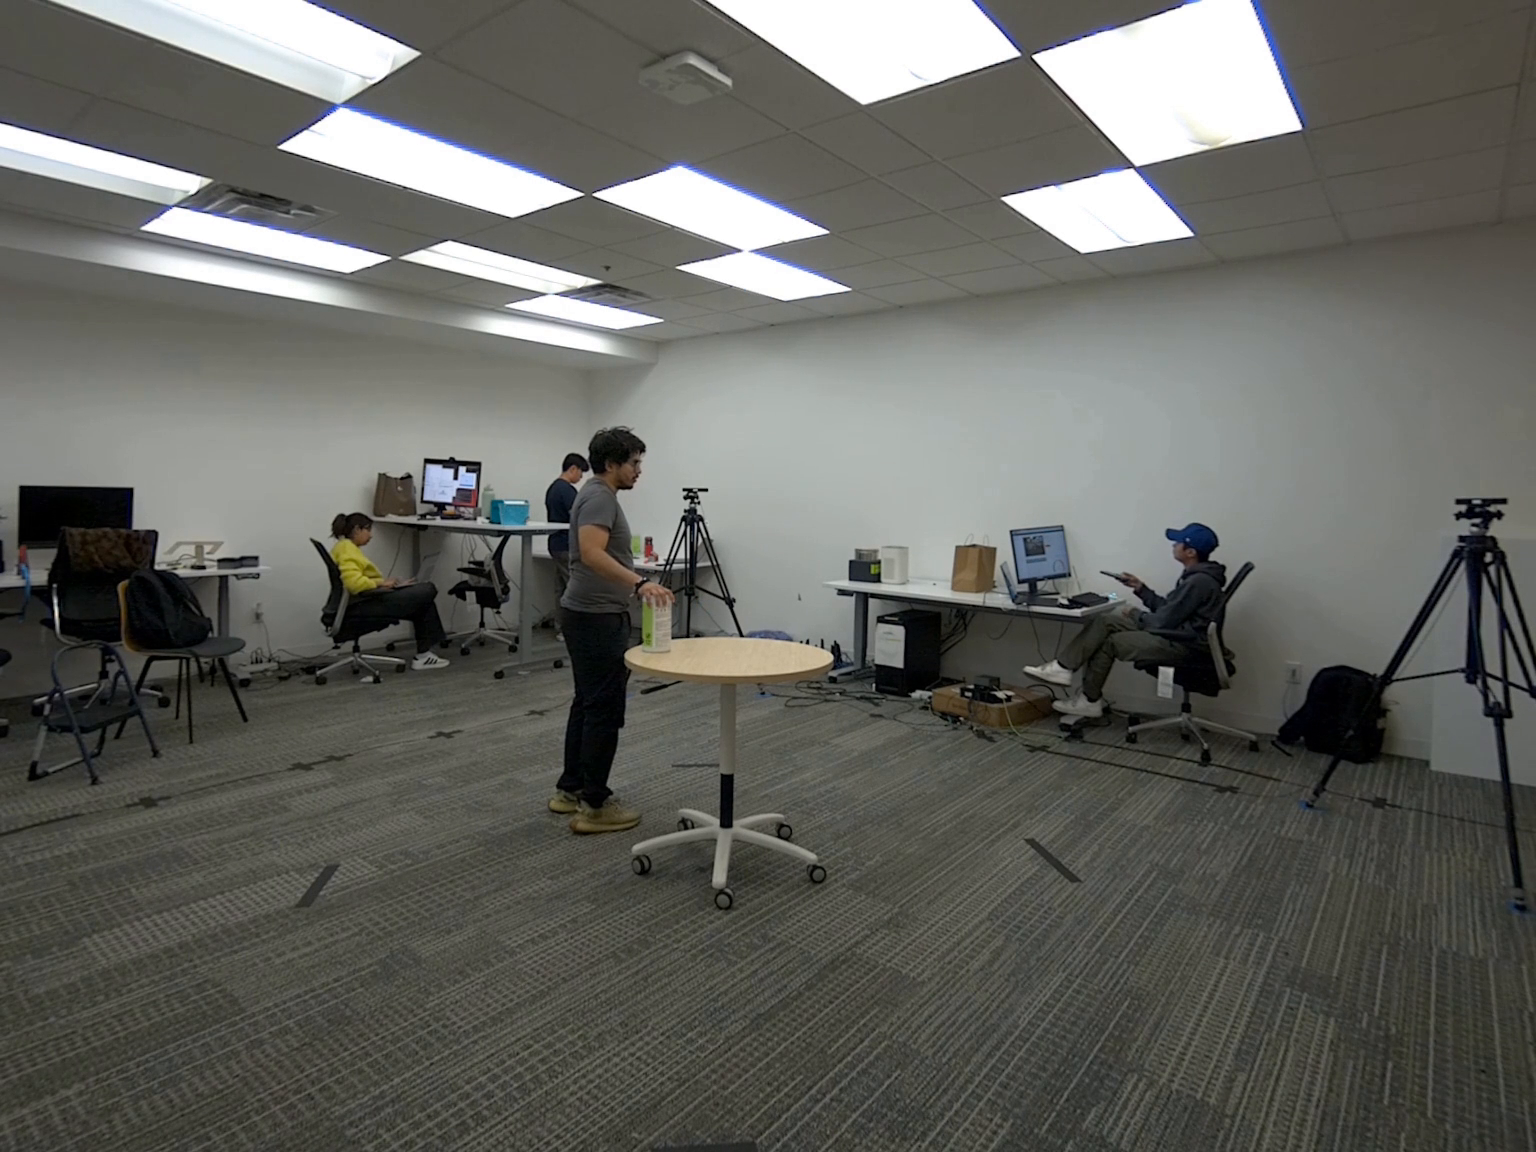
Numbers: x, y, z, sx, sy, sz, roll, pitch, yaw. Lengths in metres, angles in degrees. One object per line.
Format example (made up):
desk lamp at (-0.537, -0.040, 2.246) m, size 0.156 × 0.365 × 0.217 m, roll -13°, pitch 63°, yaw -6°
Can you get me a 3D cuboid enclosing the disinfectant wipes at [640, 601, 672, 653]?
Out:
disinfectant wipes at (-0.427, 0.169, 3.193) m, size 0.118 × 0.217 × 0.118 m, roll -3°, pitch 3°, yaw -2°
